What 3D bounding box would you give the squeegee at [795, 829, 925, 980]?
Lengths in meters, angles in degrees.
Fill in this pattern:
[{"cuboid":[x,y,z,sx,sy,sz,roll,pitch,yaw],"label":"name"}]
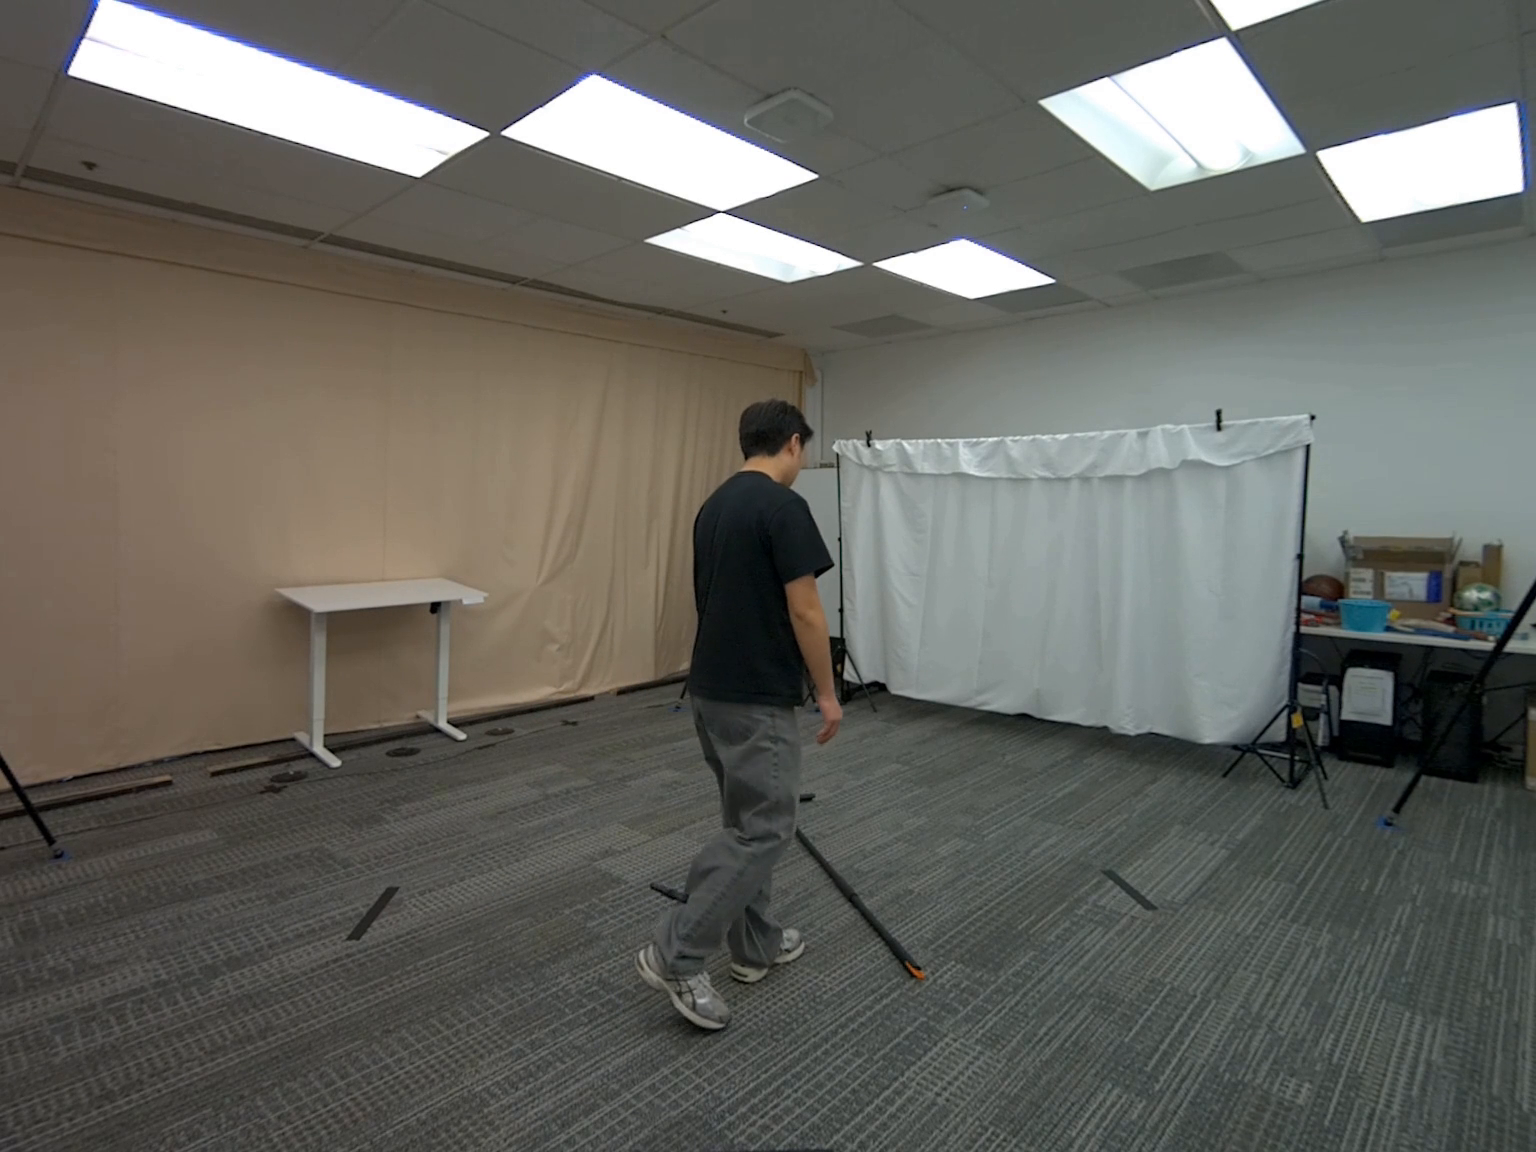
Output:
[{"cuboid":[0.228,1.079,3.193,0.430,0.053,1.567,-3,5,-17],"label":"squeegee"}]
